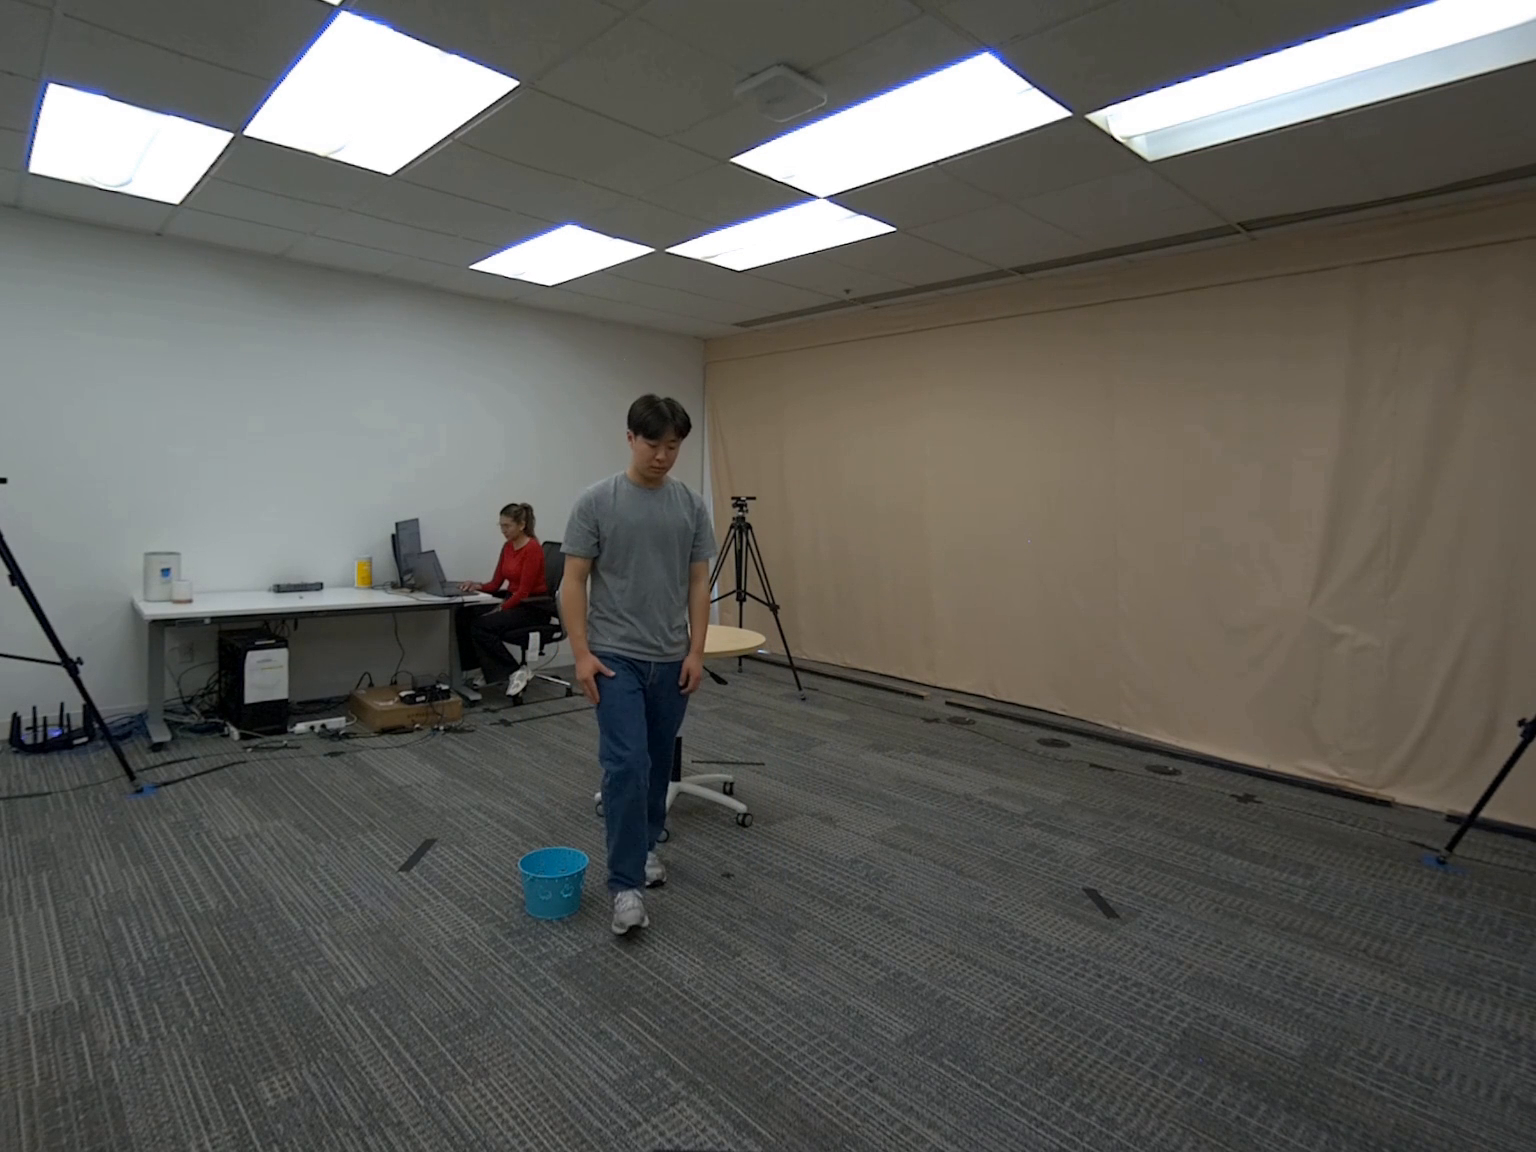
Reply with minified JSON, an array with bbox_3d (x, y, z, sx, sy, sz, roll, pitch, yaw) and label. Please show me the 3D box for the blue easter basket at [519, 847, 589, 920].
[{"bbox_3d":[-0.730,1.036,2.849,0.243,0.155,0.244,2,5,-2],"label":"blue easter basket"}]
